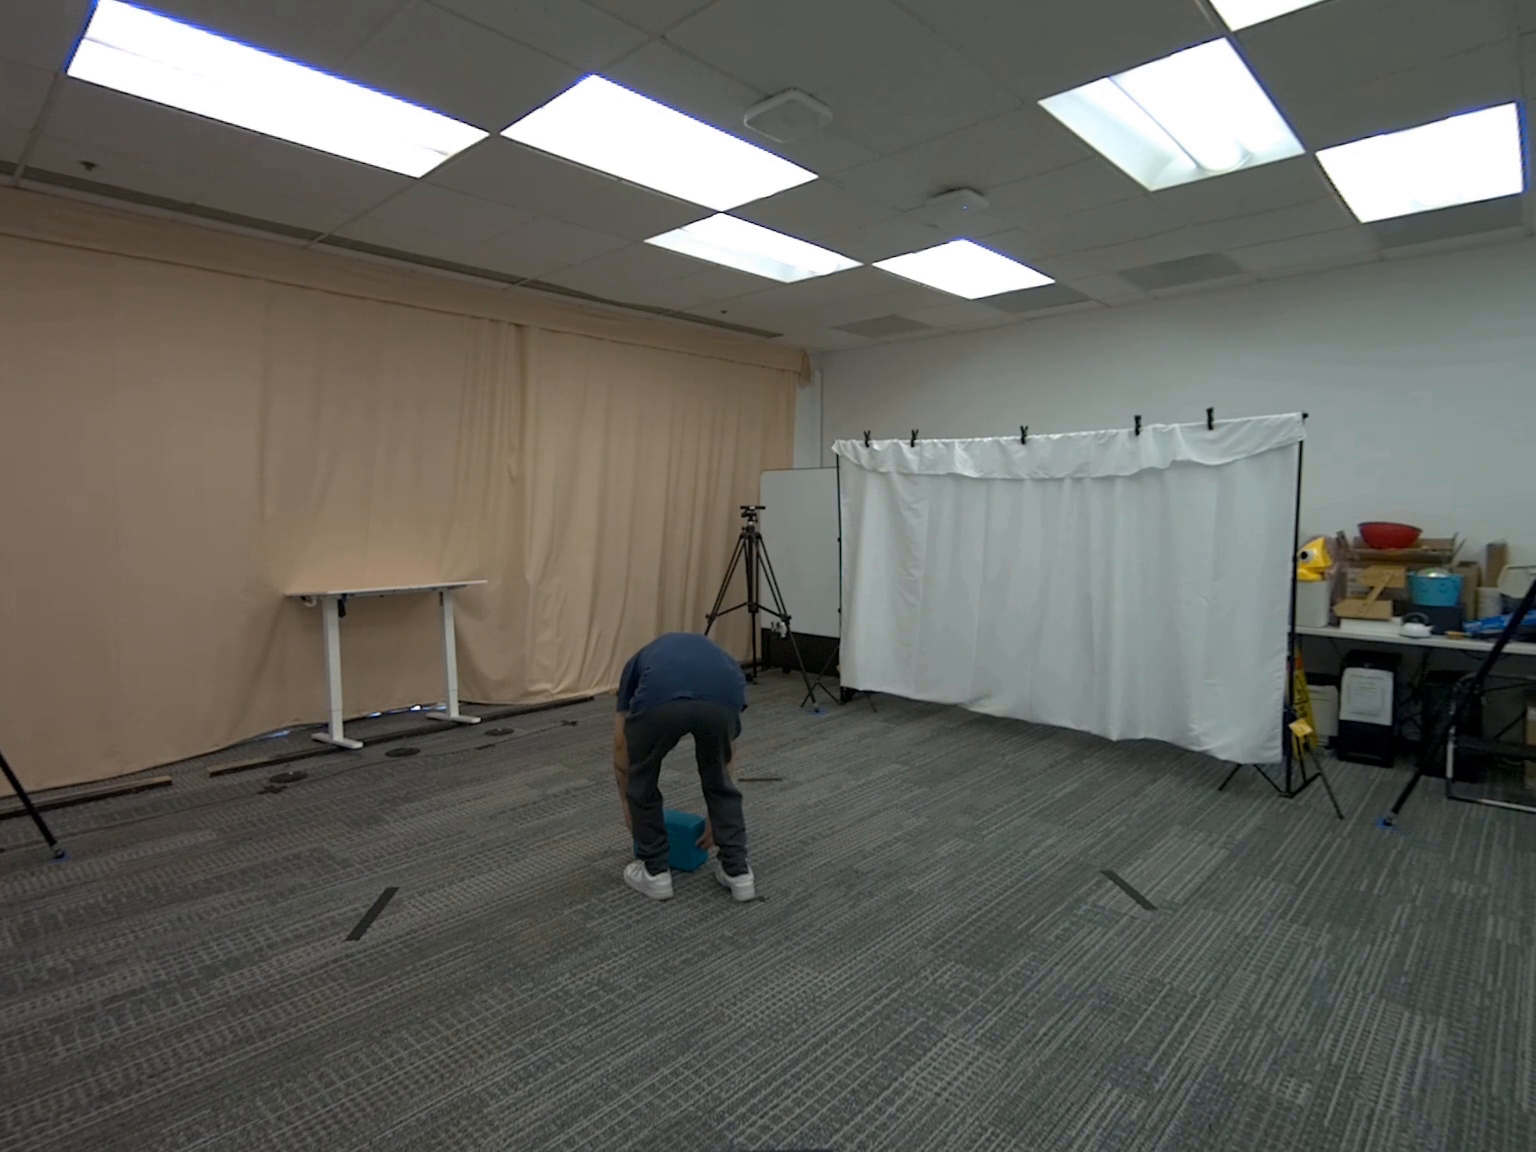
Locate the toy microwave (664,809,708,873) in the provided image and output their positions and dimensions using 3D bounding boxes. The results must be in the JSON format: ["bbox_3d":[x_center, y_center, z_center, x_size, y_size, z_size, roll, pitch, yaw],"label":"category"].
[{"bbox_3d":[-0.377,1.028,3.305,0.294,0.184,0.148,2,4,28],"label":"toy microwave"}]
